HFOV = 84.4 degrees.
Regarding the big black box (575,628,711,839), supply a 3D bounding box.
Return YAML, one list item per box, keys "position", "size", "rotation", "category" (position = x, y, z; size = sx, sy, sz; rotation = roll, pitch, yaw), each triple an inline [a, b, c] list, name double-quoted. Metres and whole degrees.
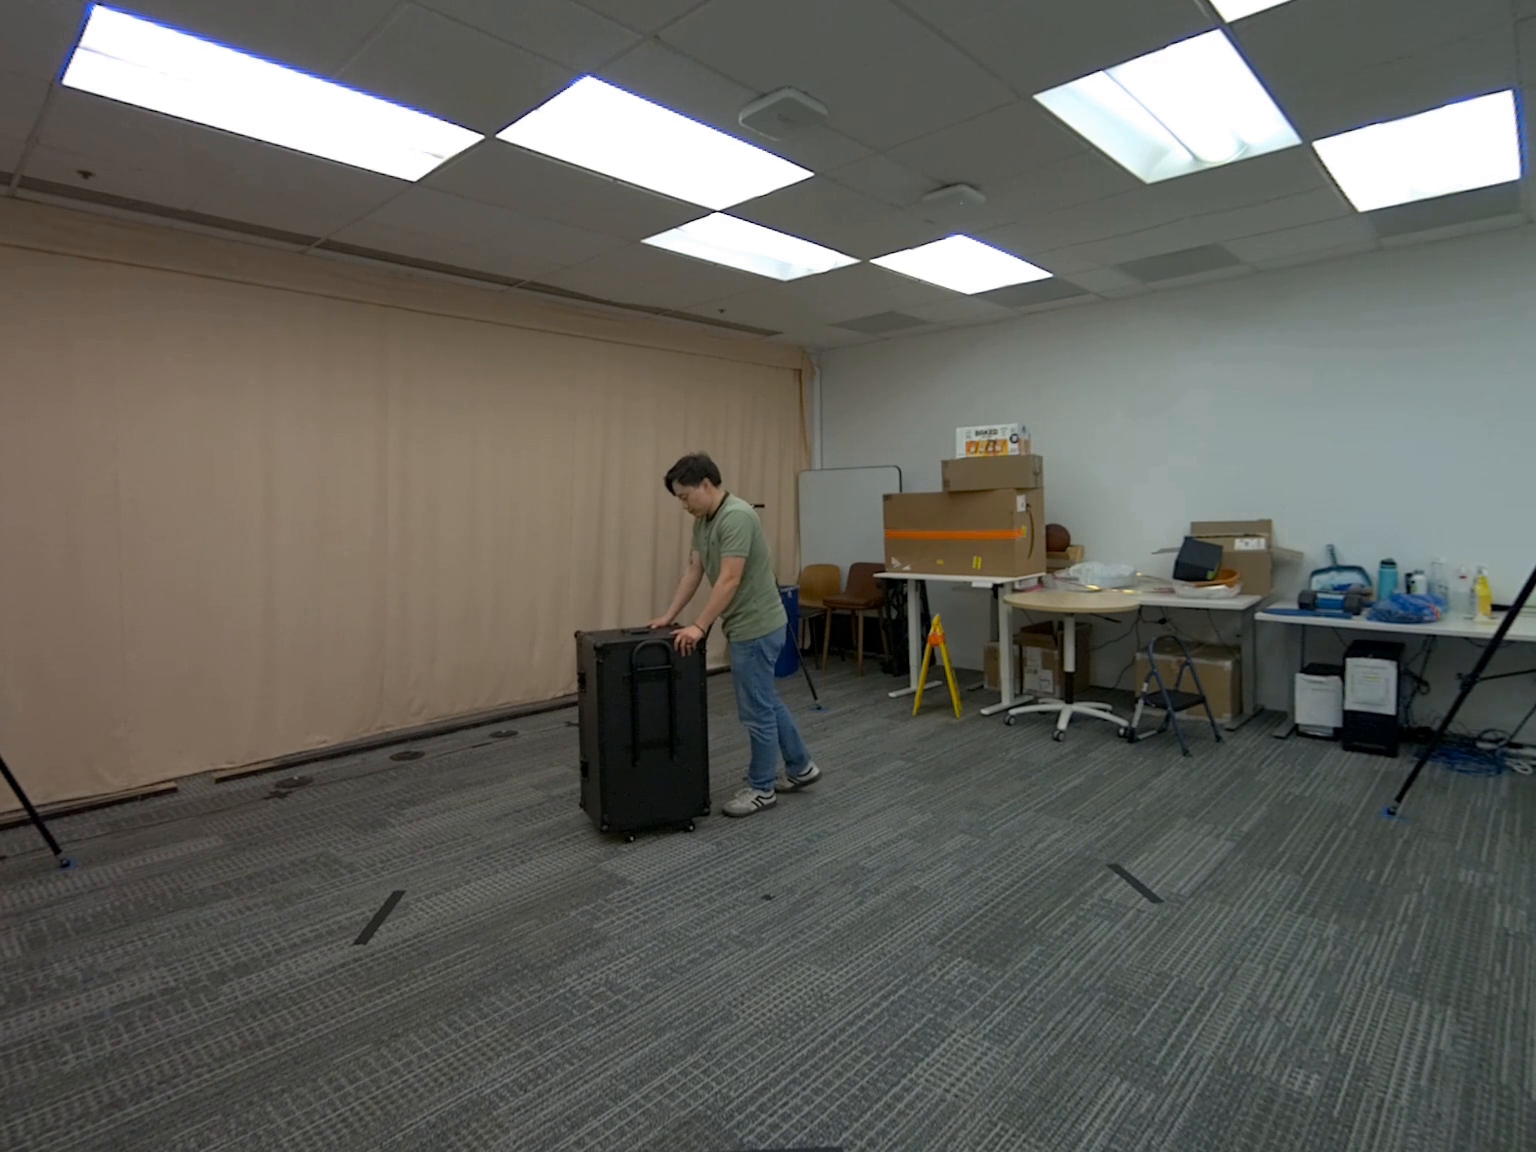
- position: [-0.538, 0.672, 3.641]
  size: [0.509, 0.859, 0.406]
  rotation: [-2, 4, -24]
  category: "big black box"
